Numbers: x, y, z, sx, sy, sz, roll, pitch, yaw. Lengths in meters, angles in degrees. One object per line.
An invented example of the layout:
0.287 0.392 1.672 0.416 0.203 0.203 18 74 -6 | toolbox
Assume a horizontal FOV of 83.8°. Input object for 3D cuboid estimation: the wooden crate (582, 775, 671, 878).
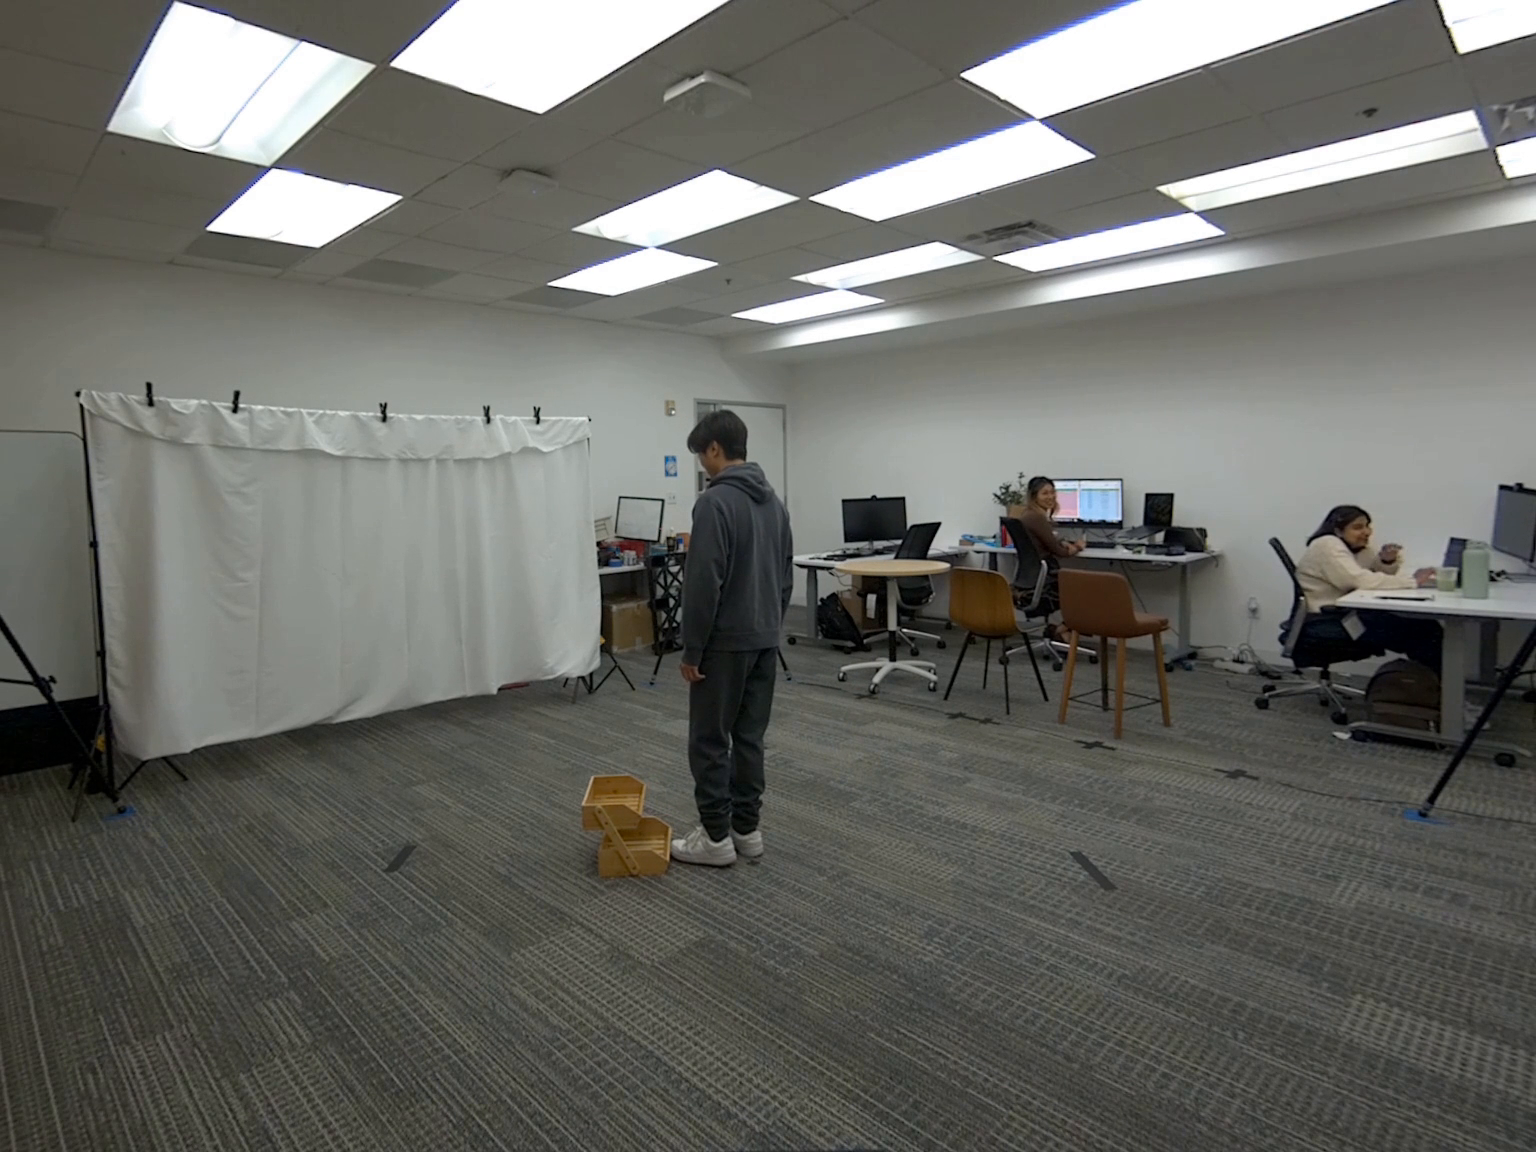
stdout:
-0.507 0.910 3.161 0.301 0.272 0.327 -2 5 -4 | wooden crate
